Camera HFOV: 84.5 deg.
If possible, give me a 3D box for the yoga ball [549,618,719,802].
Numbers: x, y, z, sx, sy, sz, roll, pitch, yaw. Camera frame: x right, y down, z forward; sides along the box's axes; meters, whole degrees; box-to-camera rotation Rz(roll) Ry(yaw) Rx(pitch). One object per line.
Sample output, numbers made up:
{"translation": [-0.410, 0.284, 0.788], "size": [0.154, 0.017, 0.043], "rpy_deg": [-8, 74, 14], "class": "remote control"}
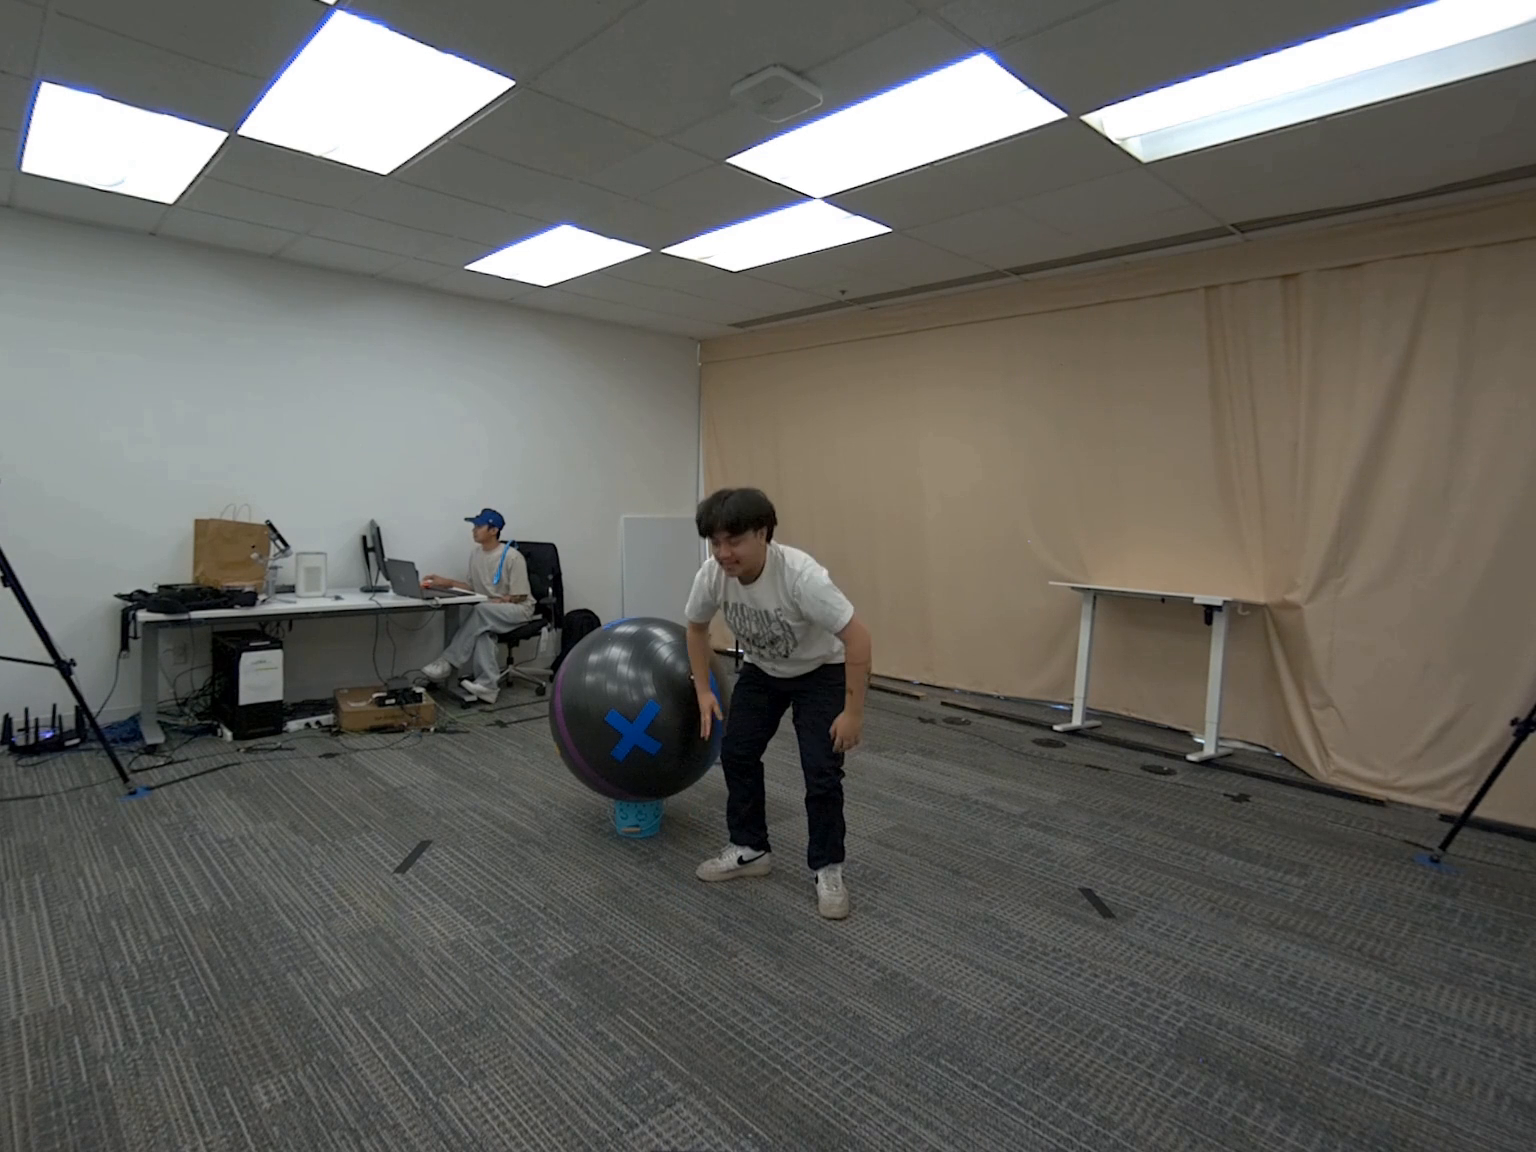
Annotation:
{"translation": [-0.534, 0.552, 3.514], "size": [0.757, 0.756, 0.760], "rpy_deg": [1, 4, -1], "class": "yoga ball"}
